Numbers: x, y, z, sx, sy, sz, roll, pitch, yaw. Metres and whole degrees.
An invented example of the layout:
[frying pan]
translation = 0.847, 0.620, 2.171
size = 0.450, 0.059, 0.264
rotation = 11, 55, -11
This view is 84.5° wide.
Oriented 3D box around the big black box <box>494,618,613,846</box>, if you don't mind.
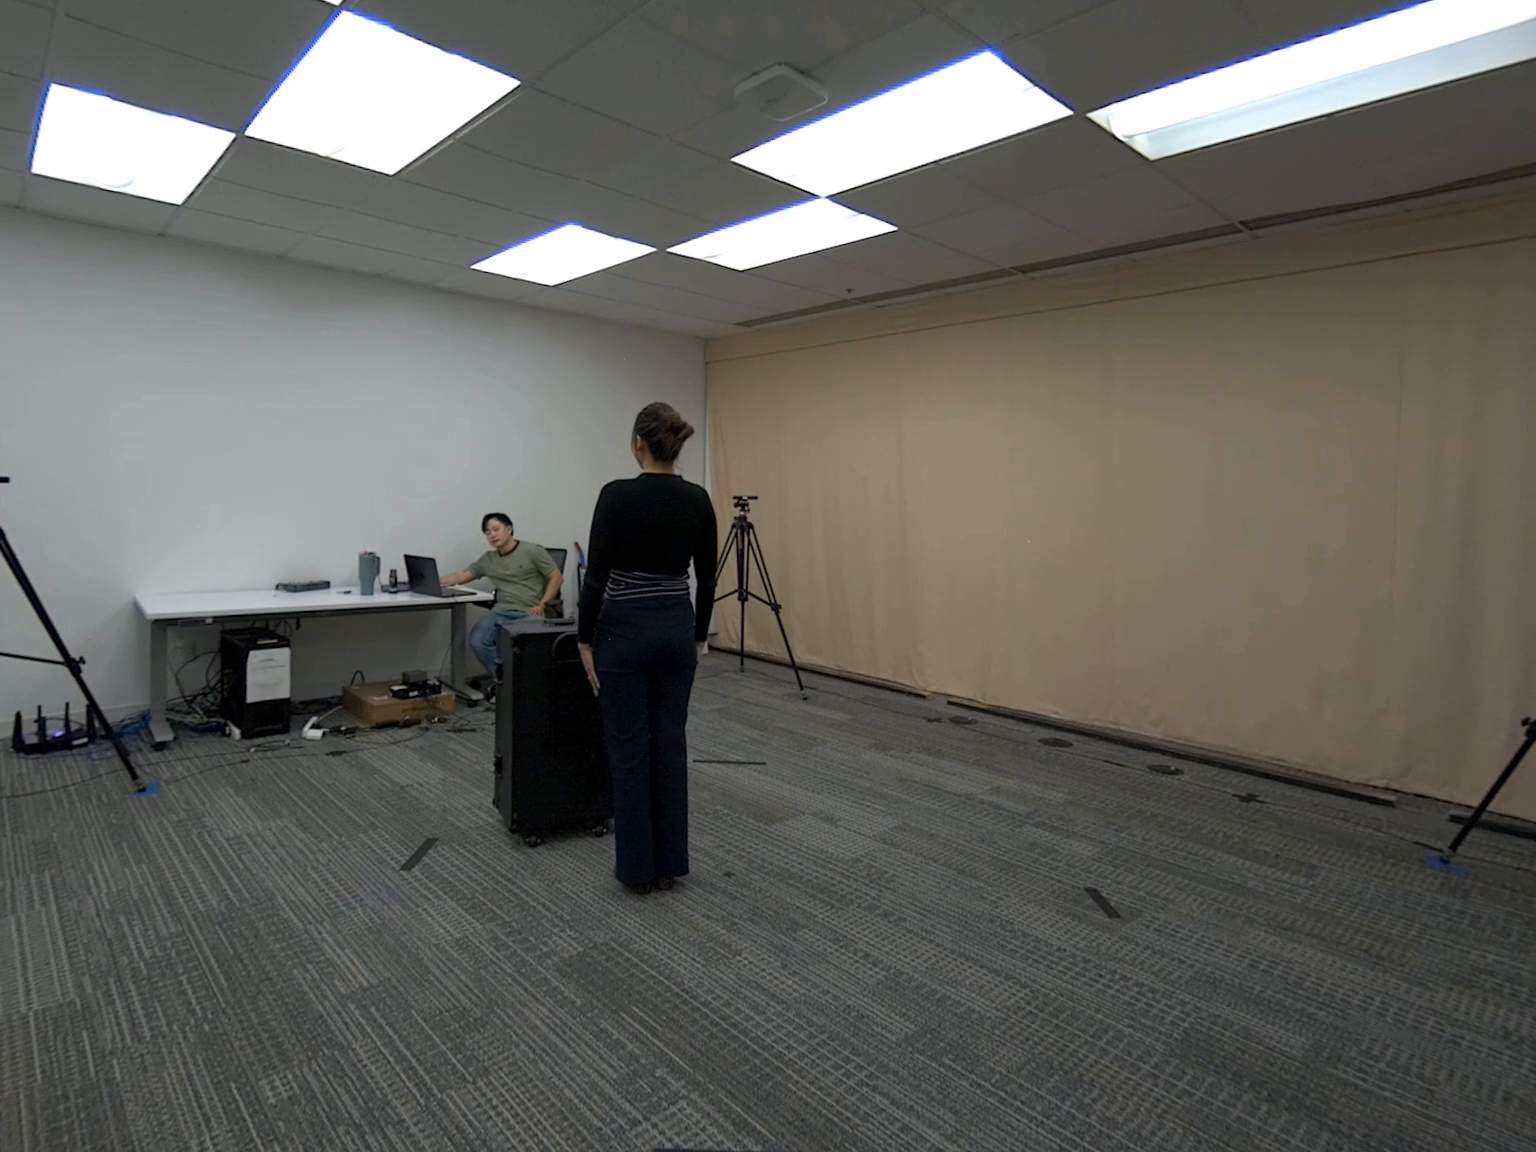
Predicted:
[big black box]
translation = -0.860, 0.625, 3.492
size = 0.511, 0.859, 0.405
rotation = 0, 4, -27
